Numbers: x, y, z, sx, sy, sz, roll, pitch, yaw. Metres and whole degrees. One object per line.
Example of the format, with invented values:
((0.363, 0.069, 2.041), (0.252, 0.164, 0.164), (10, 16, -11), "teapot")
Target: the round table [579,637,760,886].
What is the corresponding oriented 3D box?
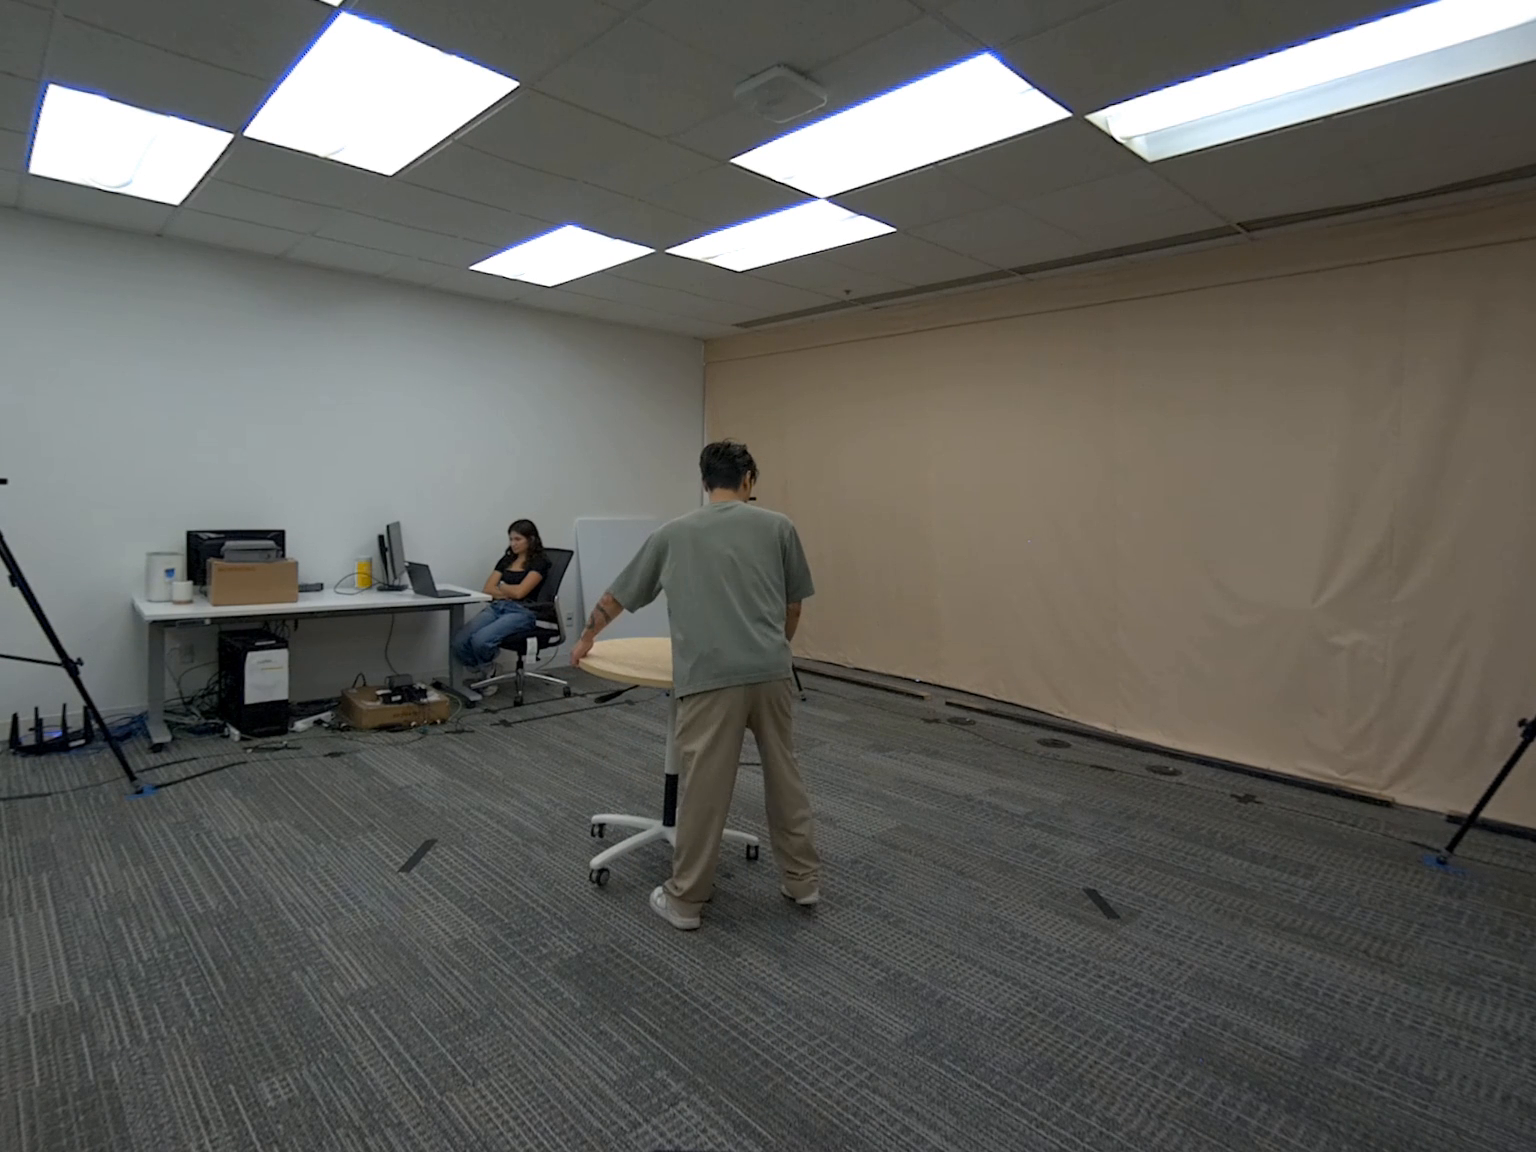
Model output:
((-0.372, 0.691, 3.187), (0.784, 0.784, 0.788), (4, 5, -2), "round table")
